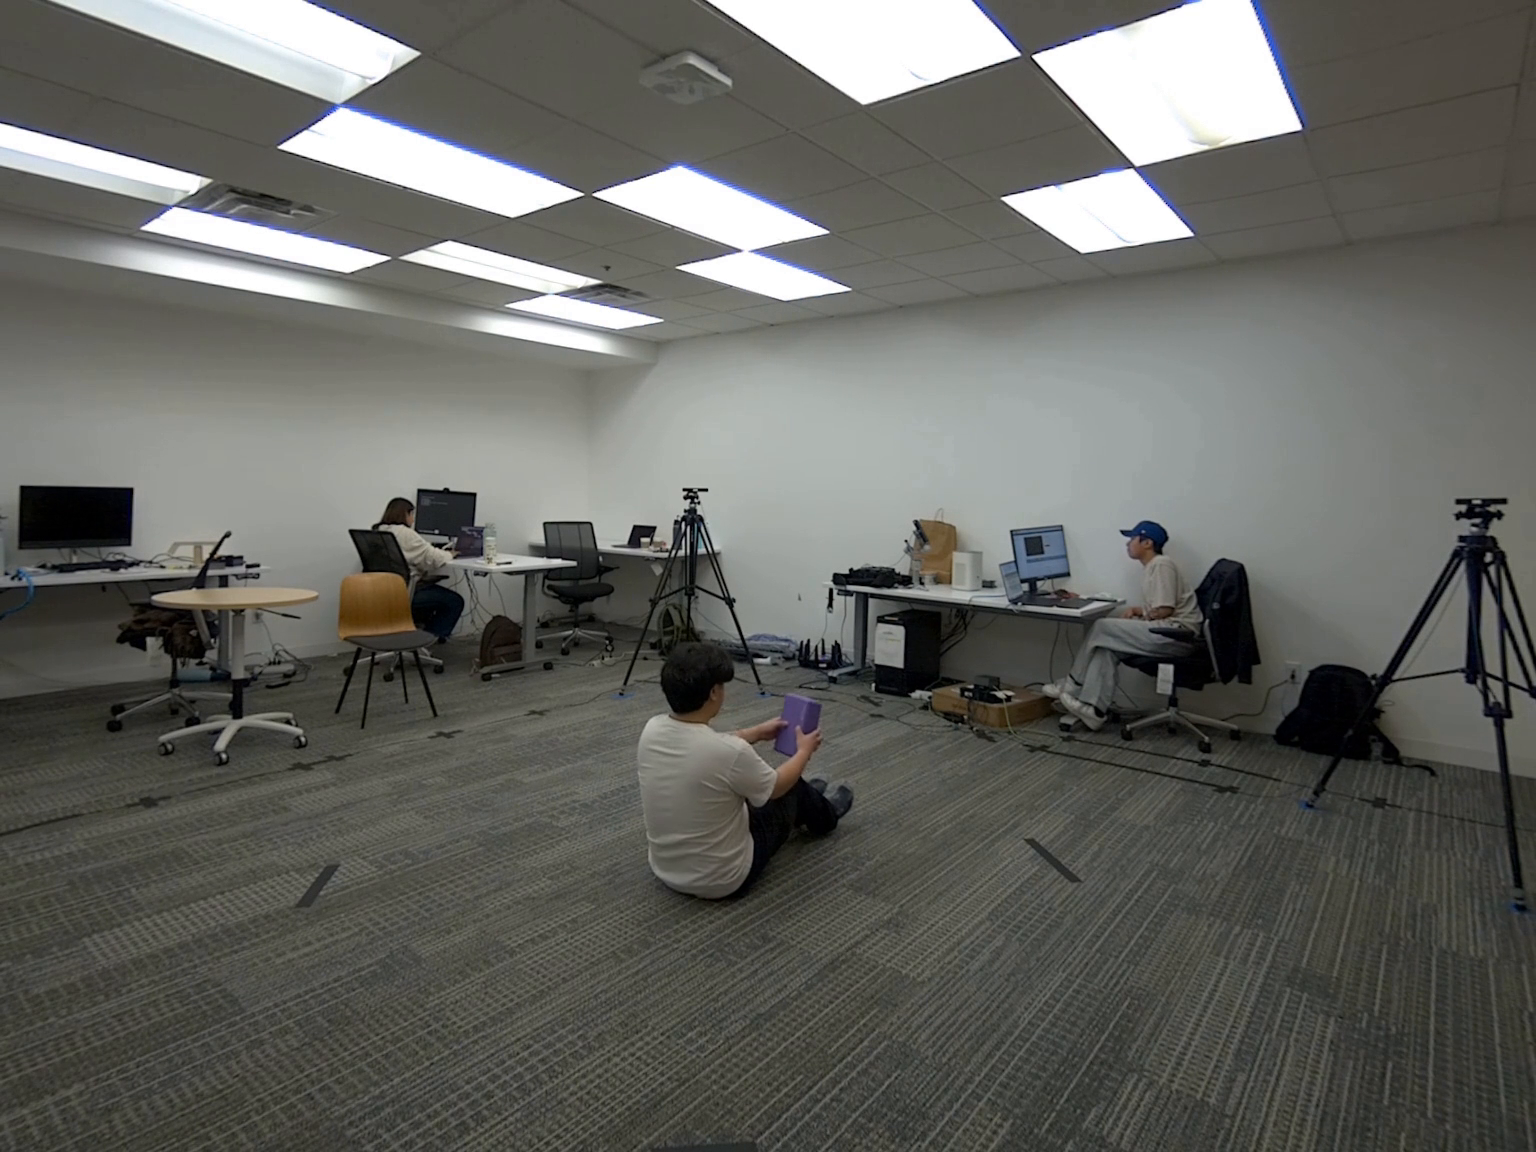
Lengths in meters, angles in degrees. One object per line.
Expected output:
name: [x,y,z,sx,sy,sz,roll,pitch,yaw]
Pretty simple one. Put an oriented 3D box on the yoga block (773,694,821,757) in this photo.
yoga block: [0.105,0.589,3.306,0.074,0.230,0.154,16,-7,-36]
